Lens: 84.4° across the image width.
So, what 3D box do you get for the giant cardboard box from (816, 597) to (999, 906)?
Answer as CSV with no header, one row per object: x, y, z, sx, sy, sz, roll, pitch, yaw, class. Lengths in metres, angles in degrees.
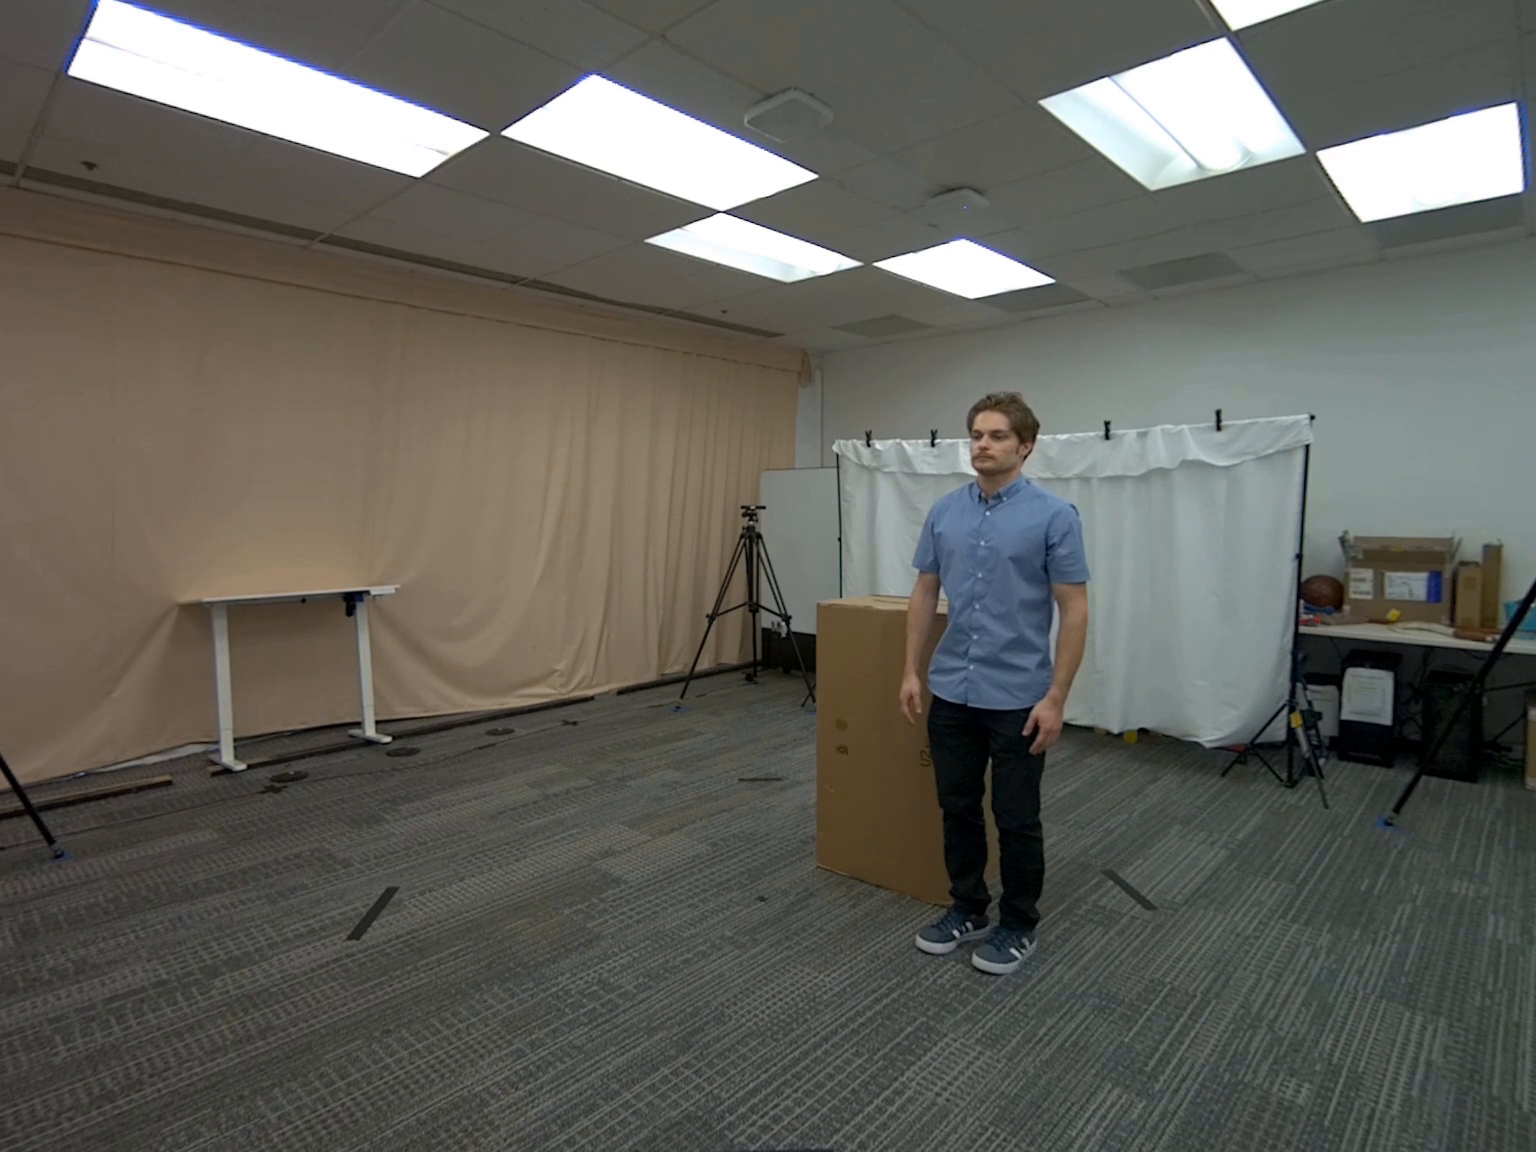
0.539,0.615,3.214,0.596,1.024,0.413,2,3,39,giant cardboard box
